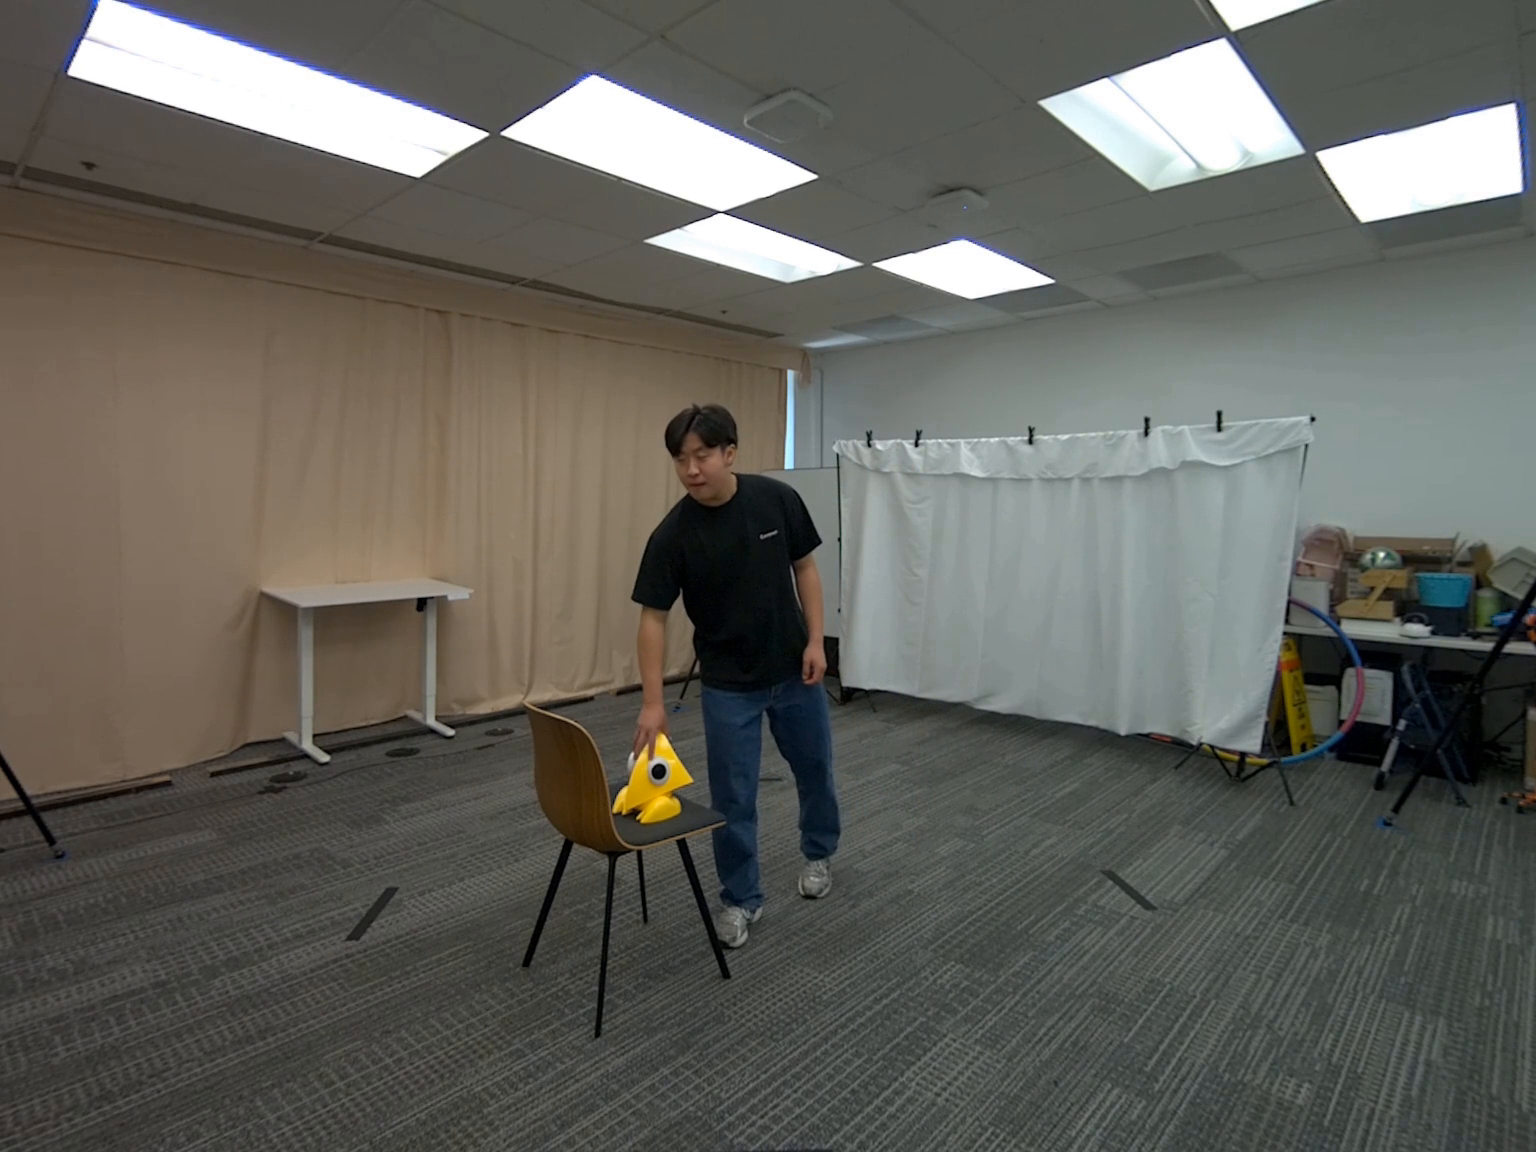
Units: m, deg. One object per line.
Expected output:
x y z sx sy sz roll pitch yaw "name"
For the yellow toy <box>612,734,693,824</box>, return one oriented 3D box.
-0.362 0.591 2.525 0.211 0.230 0.187 2 6 42 "yellow toy"
